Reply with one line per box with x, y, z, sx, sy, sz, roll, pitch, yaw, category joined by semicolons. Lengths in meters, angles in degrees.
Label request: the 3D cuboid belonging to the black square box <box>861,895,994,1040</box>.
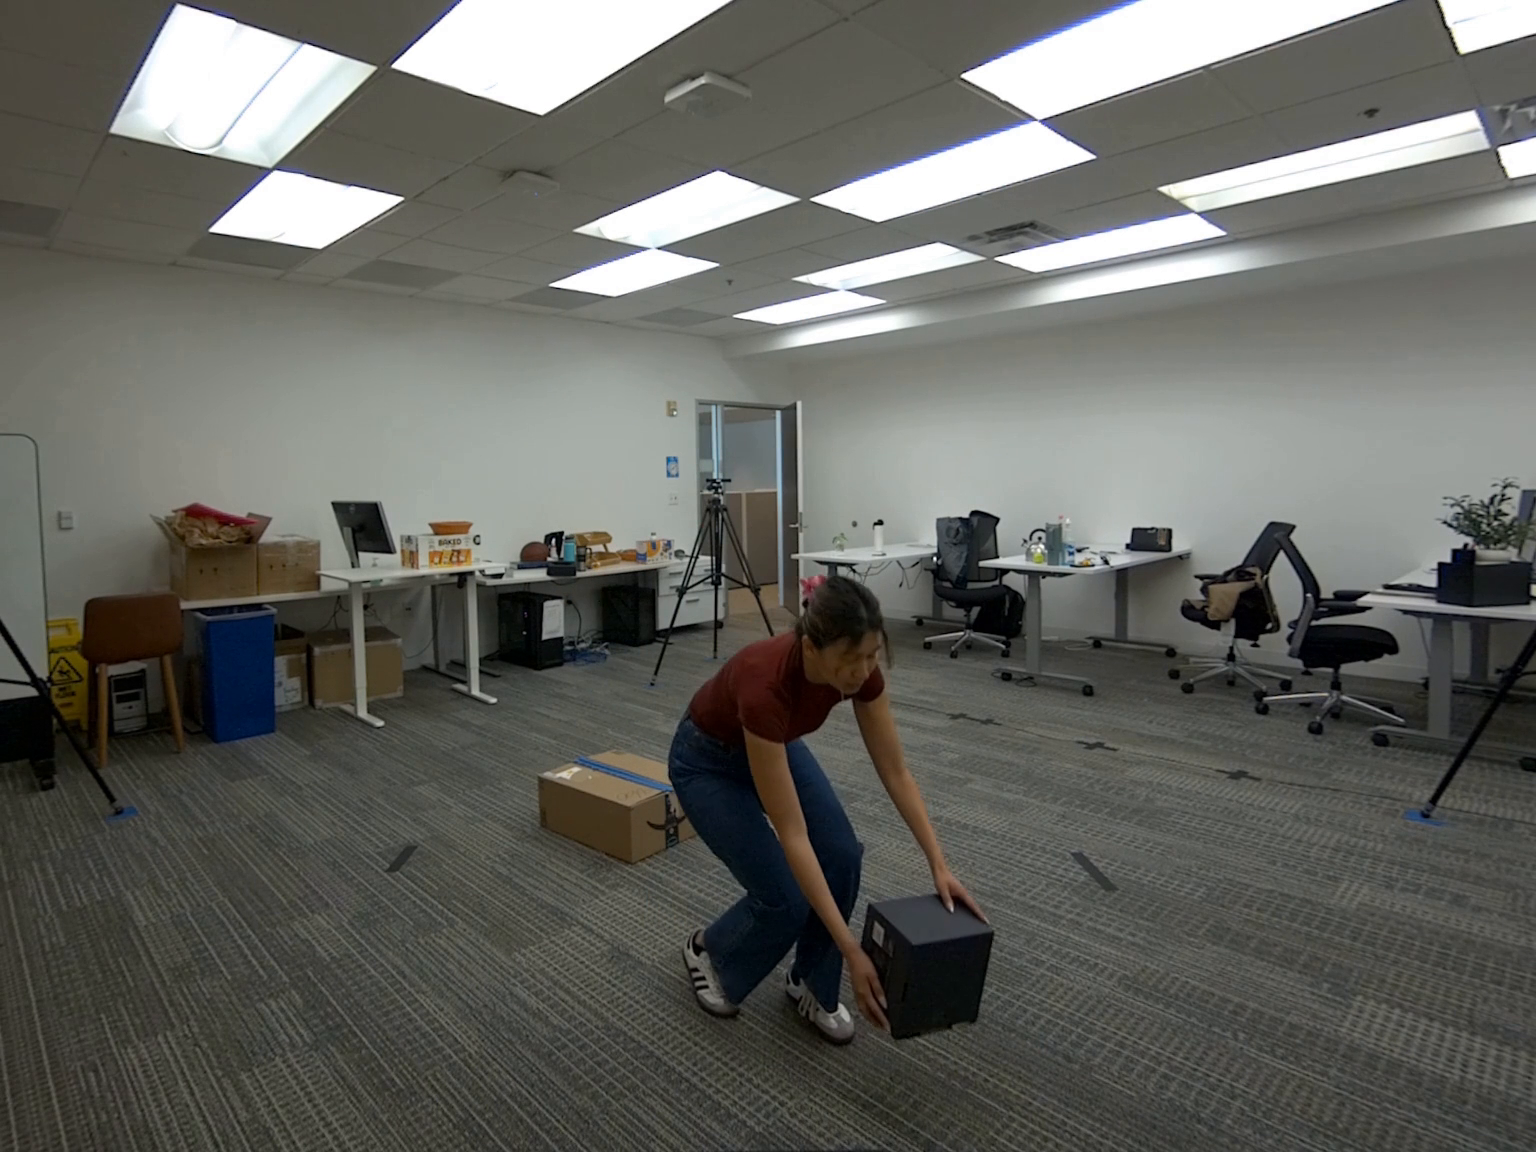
0.337;0.822;1.857;0.222;0.216;0.160;6;4;-26;black square box
